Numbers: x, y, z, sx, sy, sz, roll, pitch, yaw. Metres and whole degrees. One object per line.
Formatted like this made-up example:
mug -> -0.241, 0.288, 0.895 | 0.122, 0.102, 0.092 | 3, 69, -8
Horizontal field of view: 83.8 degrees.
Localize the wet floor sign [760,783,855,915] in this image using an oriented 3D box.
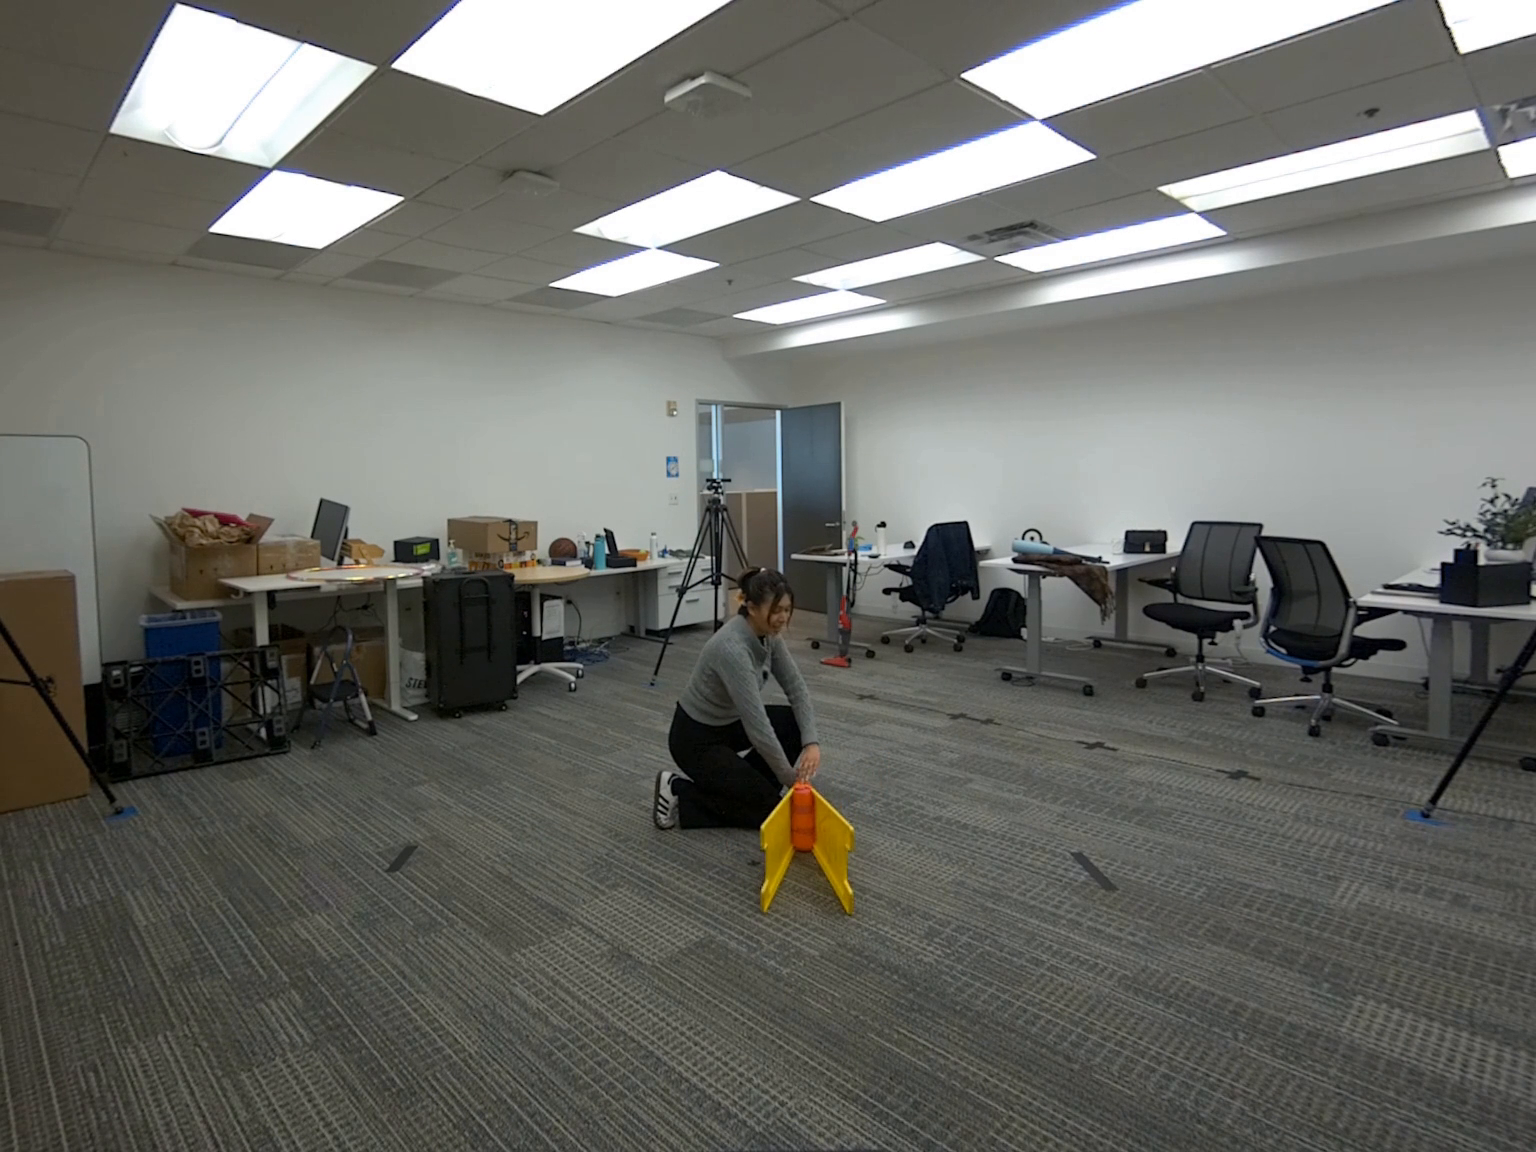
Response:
wet floor sign -> 0.131, 0.928, 3.053 | 0.291, 0.282, 0.645 | 0, 3, 2
